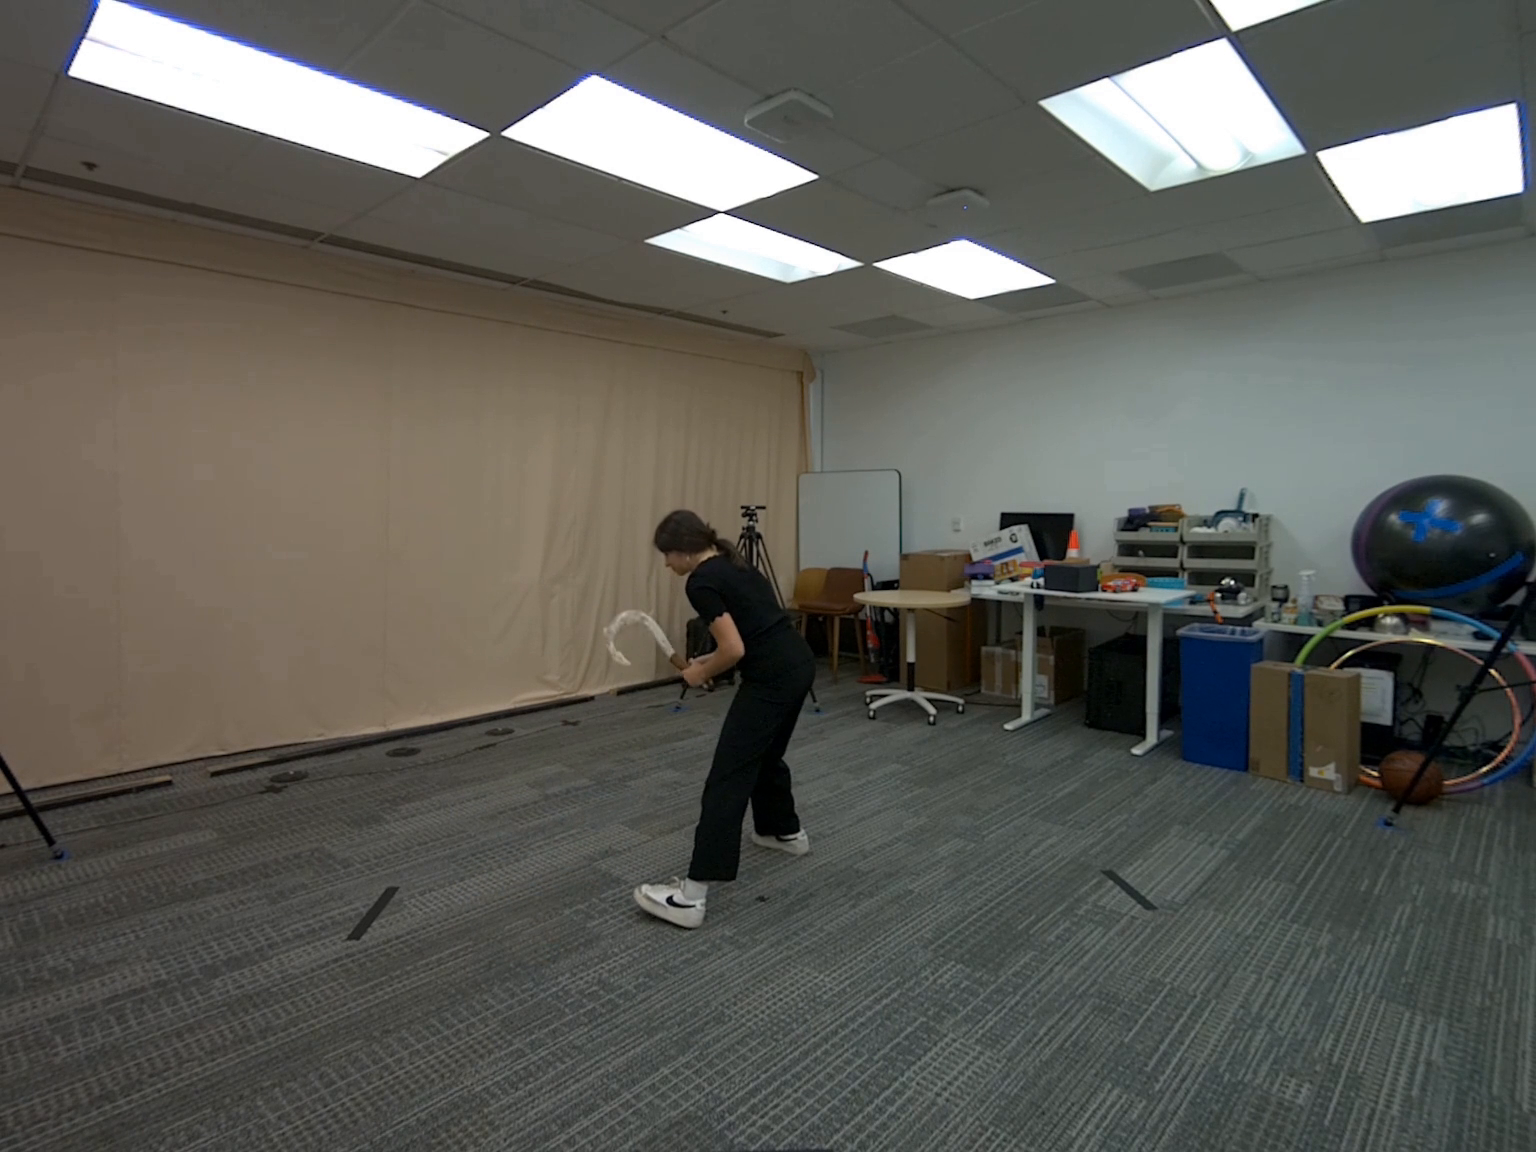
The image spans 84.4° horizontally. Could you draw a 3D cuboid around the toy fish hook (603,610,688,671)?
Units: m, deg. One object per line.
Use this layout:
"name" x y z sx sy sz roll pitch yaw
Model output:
"toy fish hook" -0.435 0.331 3.269 0.522 0.224 0.047 35 -14 26
